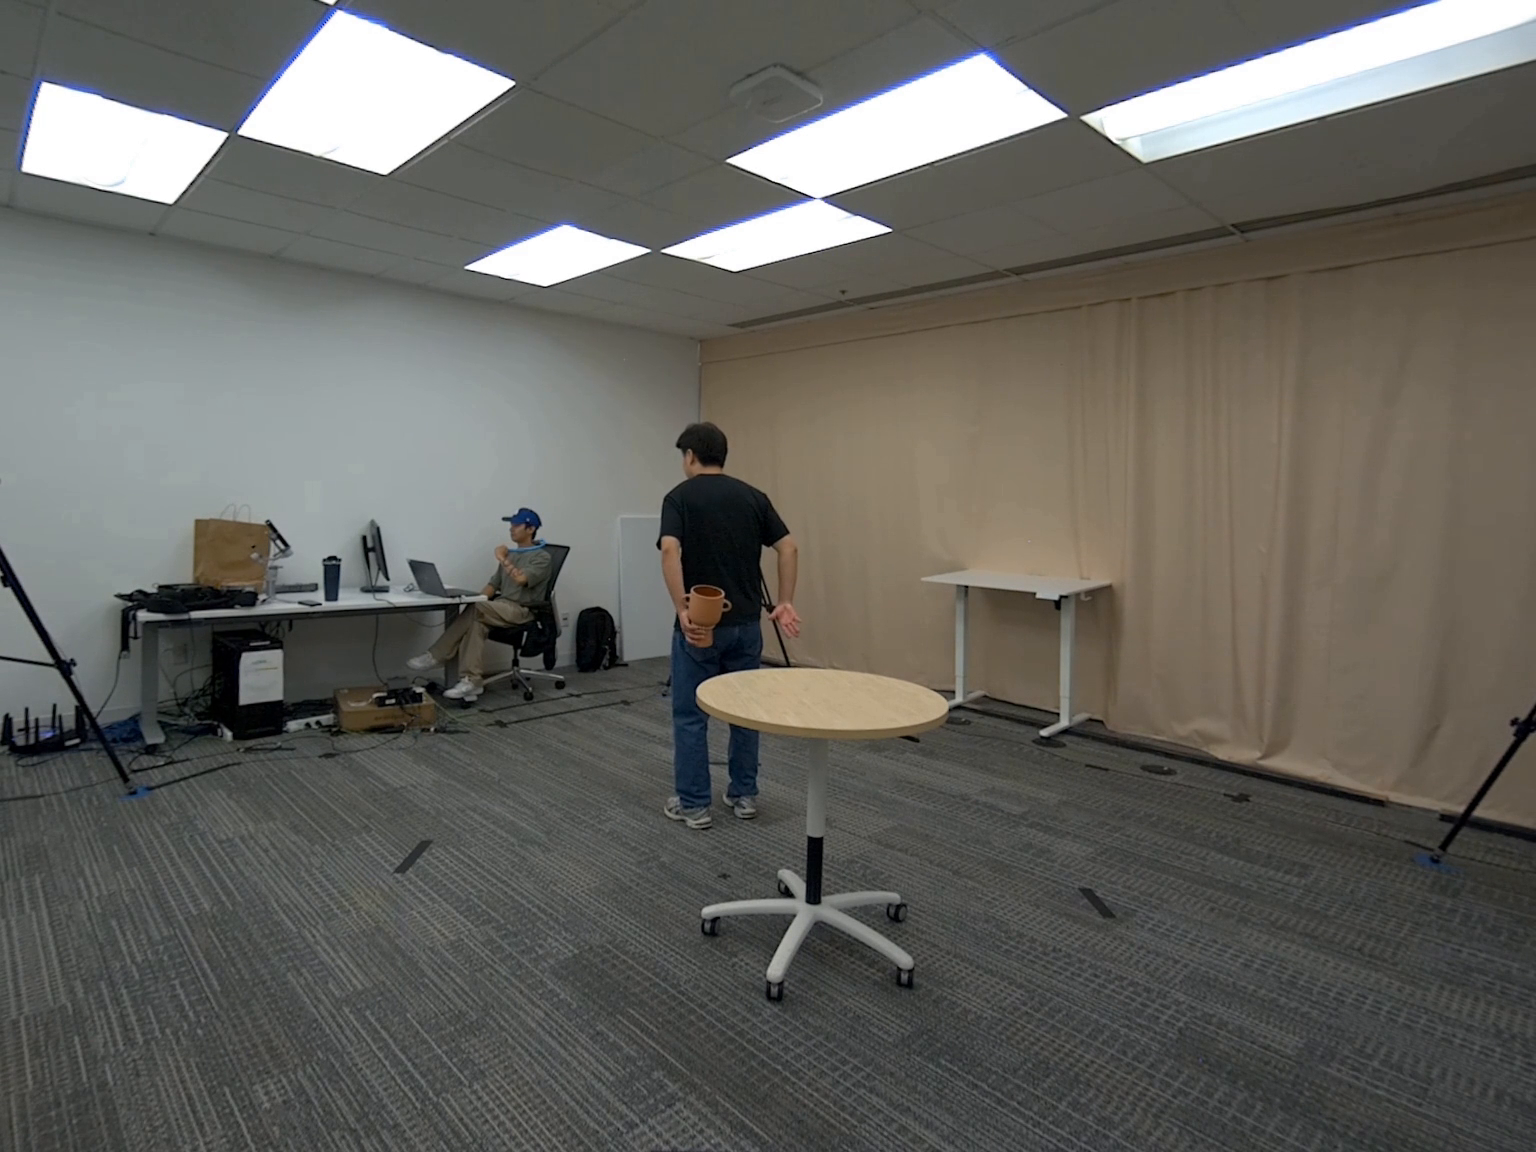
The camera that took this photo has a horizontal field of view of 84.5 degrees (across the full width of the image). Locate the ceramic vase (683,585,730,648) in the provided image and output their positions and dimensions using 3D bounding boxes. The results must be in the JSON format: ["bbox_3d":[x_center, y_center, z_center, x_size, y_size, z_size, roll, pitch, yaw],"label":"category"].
[{"bbox_3d":[-0.276,0.161,3.346,0.163,0.217,0.132,23,22,34],"label":"ceramic vase"}]
